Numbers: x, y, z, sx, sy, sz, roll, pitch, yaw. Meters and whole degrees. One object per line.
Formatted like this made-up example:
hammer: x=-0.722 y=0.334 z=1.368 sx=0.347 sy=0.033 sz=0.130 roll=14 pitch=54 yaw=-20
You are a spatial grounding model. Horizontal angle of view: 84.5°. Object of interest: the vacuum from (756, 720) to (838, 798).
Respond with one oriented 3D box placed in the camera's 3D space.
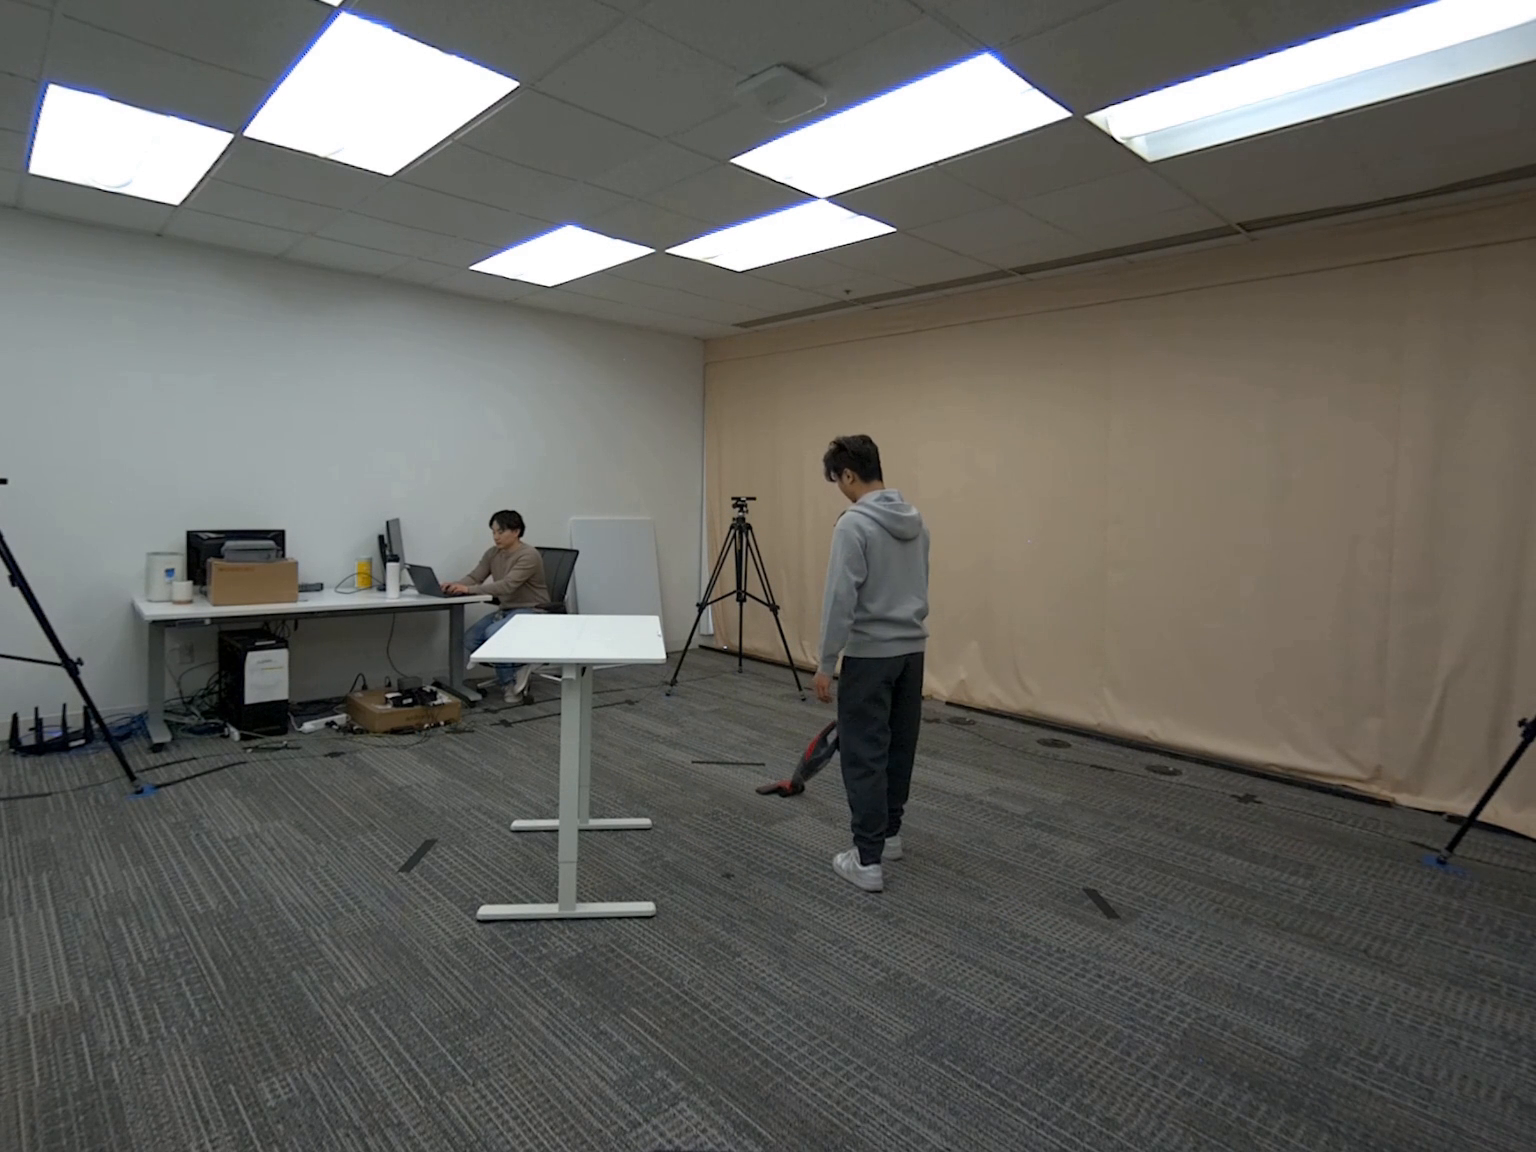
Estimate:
vacuum: x=0.308 y=0.688 z=3.731 sx=0.247 sy=0.148 sz=1.044 roll=-3 pitch=-39 yaw=-41
